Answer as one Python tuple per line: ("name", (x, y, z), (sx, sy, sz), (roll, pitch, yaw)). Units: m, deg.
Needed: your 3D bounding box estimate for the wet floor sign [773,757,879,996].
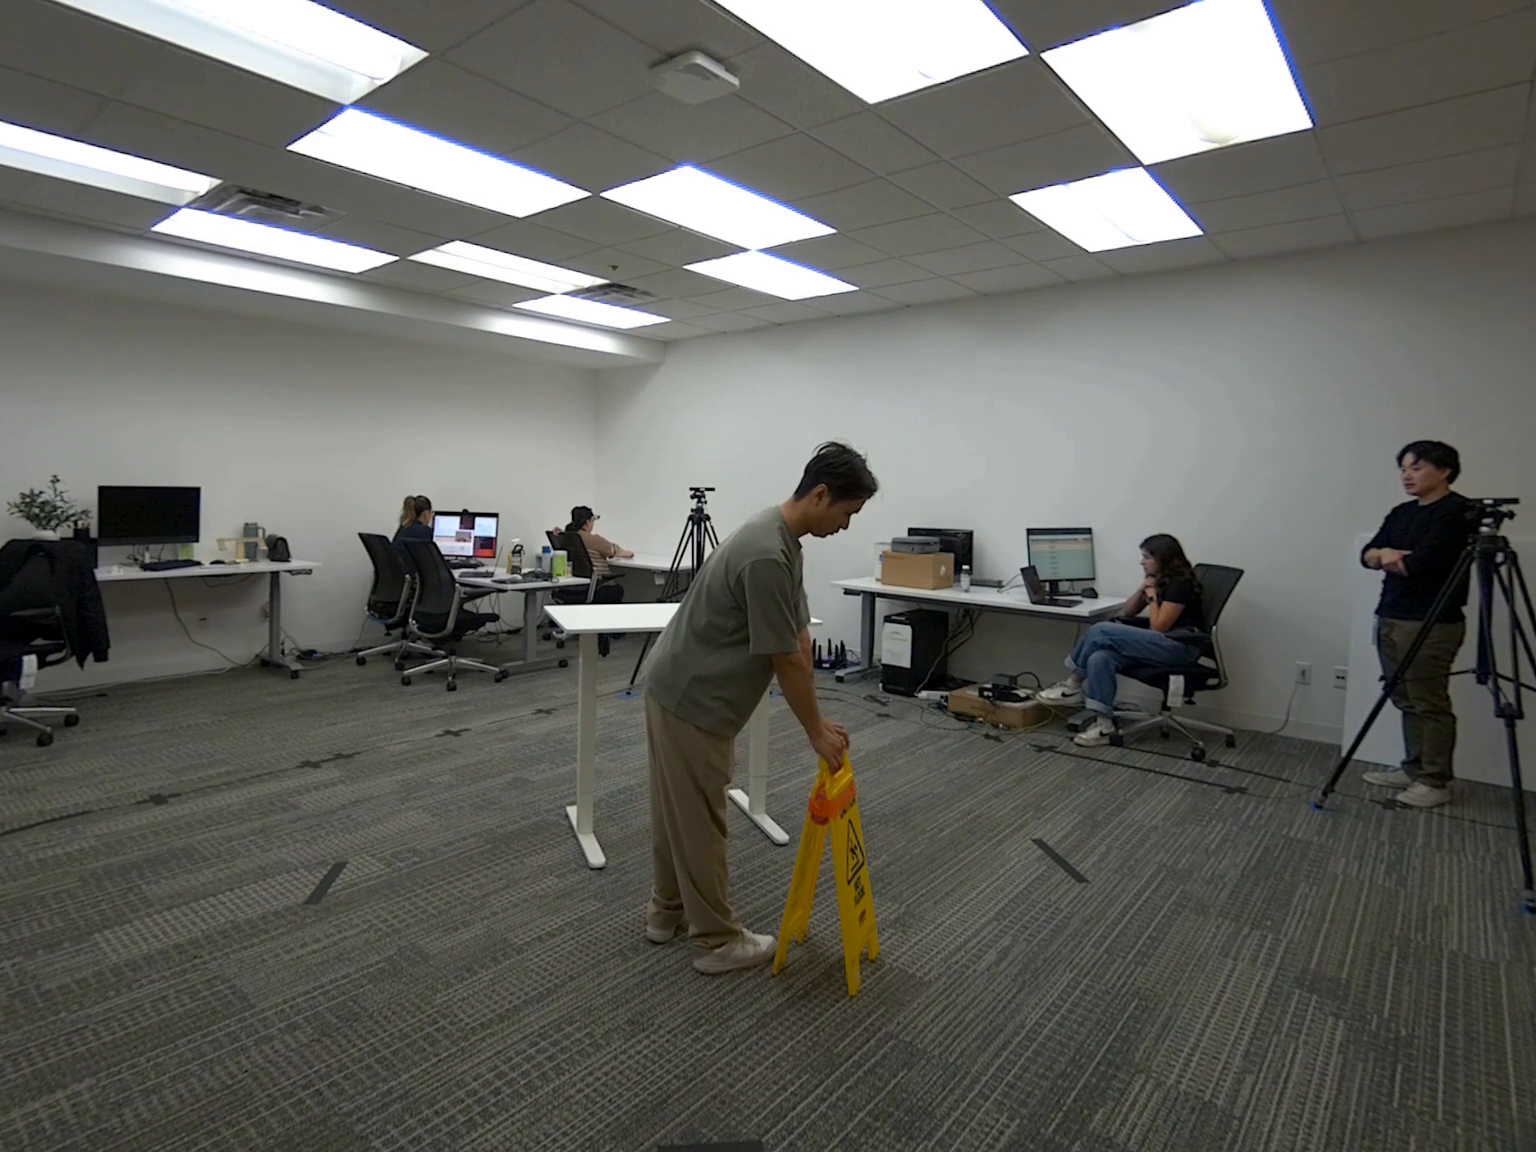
("wet floor sign", (0.173, 0.818, 2.487), (0.297, 0.644, 0.276), (4, 4, 22))
